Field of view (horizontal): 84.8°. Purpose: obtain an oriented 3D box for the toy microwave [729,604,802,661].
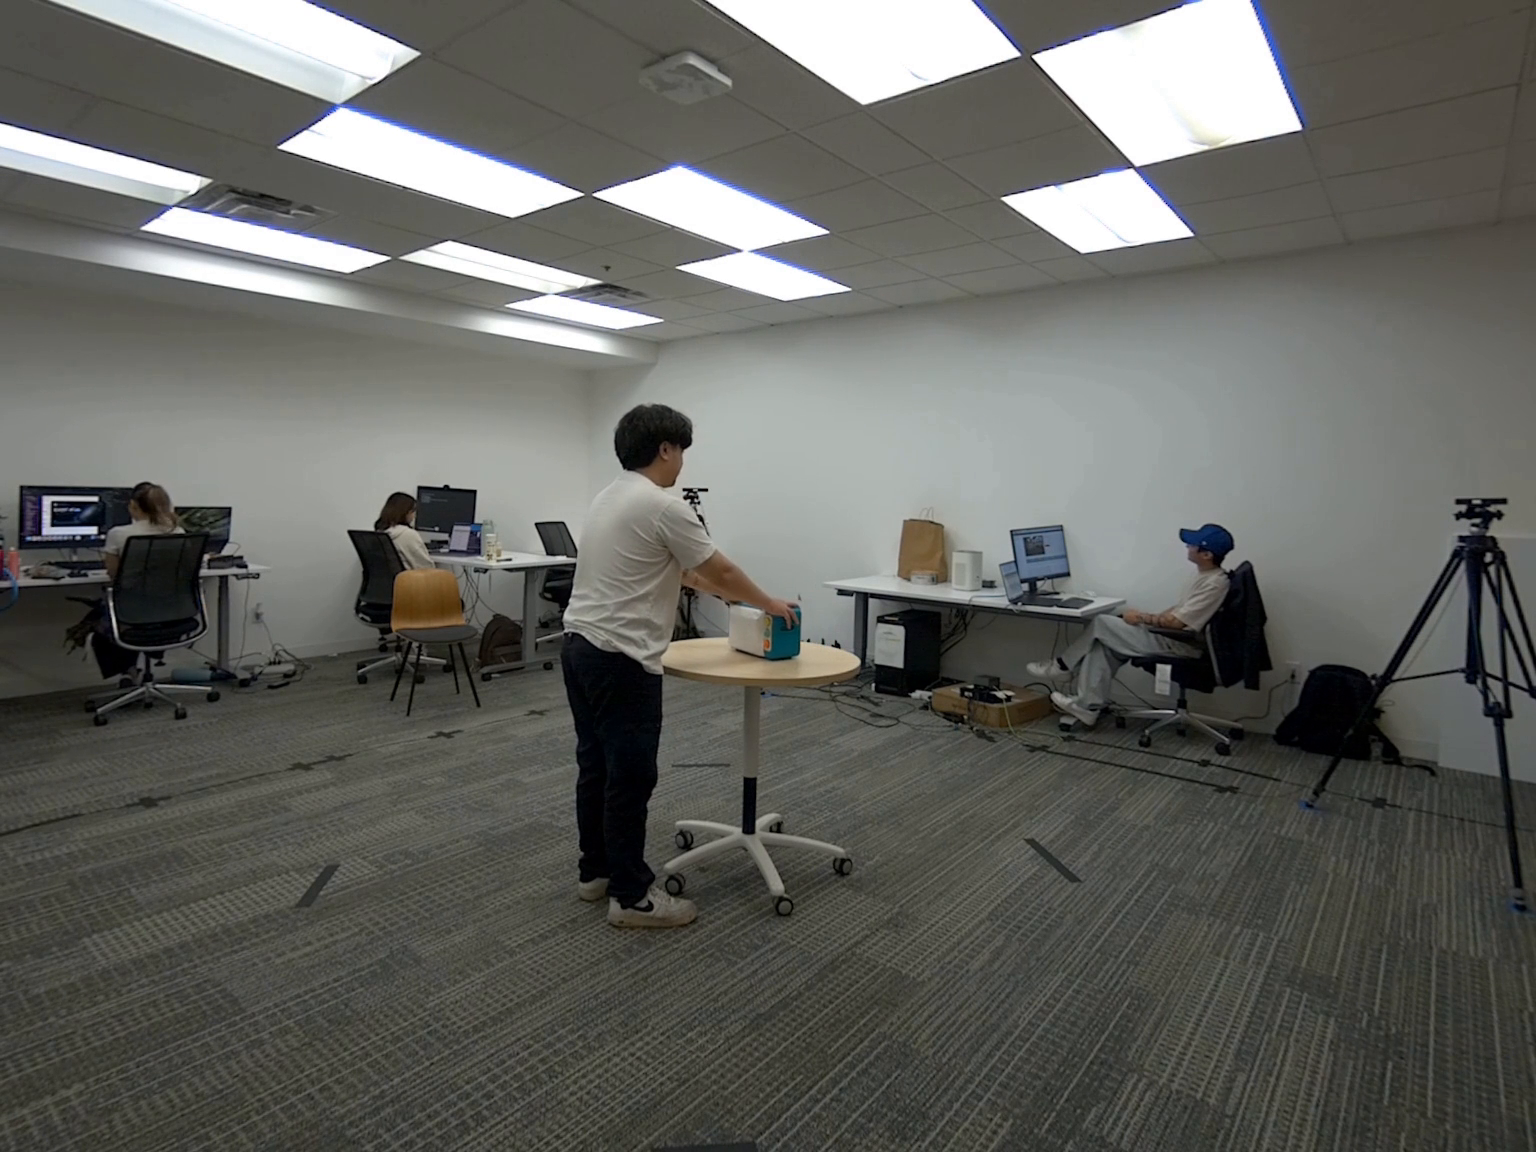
[{"bbox_3d":[-0.033,0.192,3.105,0.148,0.183,0.296,-1,5,-35],"label":"toy microwave"}]
